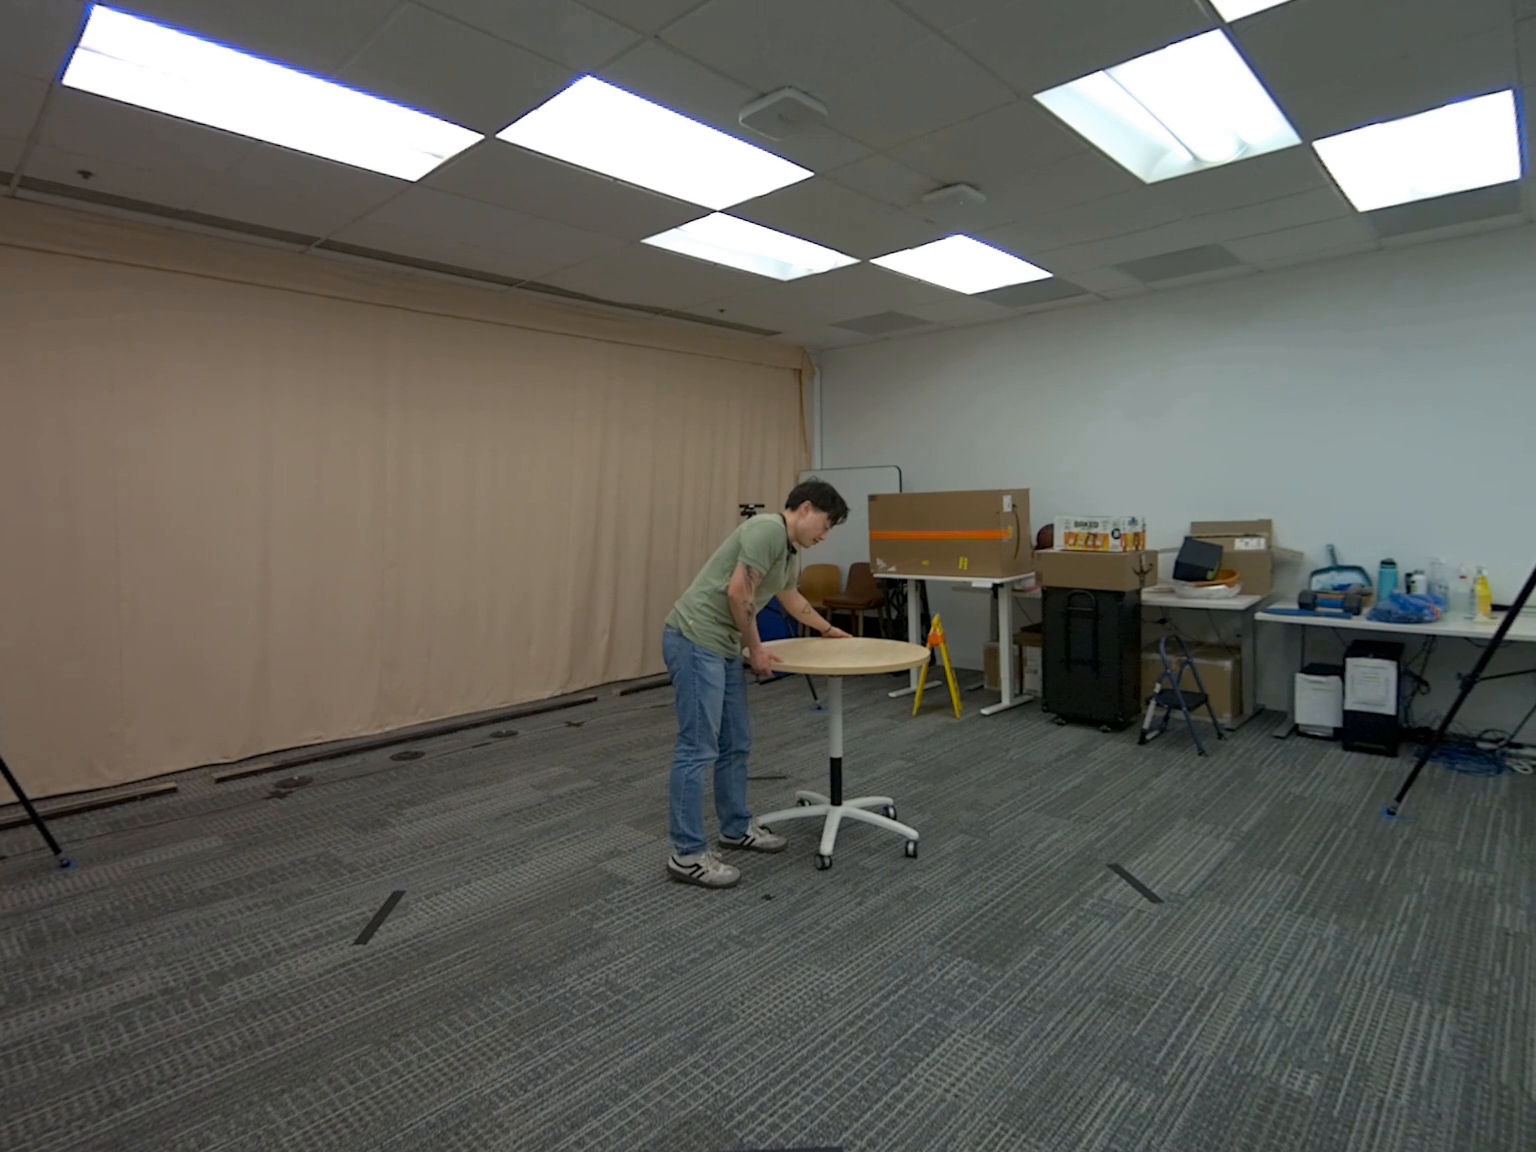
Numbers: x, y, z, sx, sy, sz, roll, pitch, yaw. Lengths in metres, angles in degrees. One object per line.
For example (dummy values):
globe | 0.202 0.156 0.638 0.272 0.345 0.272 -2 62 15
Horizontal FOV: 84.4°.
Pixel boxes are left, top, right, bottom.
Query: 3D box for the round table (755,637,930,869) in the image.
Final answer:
round table | 0.288 0.704 3.486 0.763 0.792 0.766 0 3 -2
